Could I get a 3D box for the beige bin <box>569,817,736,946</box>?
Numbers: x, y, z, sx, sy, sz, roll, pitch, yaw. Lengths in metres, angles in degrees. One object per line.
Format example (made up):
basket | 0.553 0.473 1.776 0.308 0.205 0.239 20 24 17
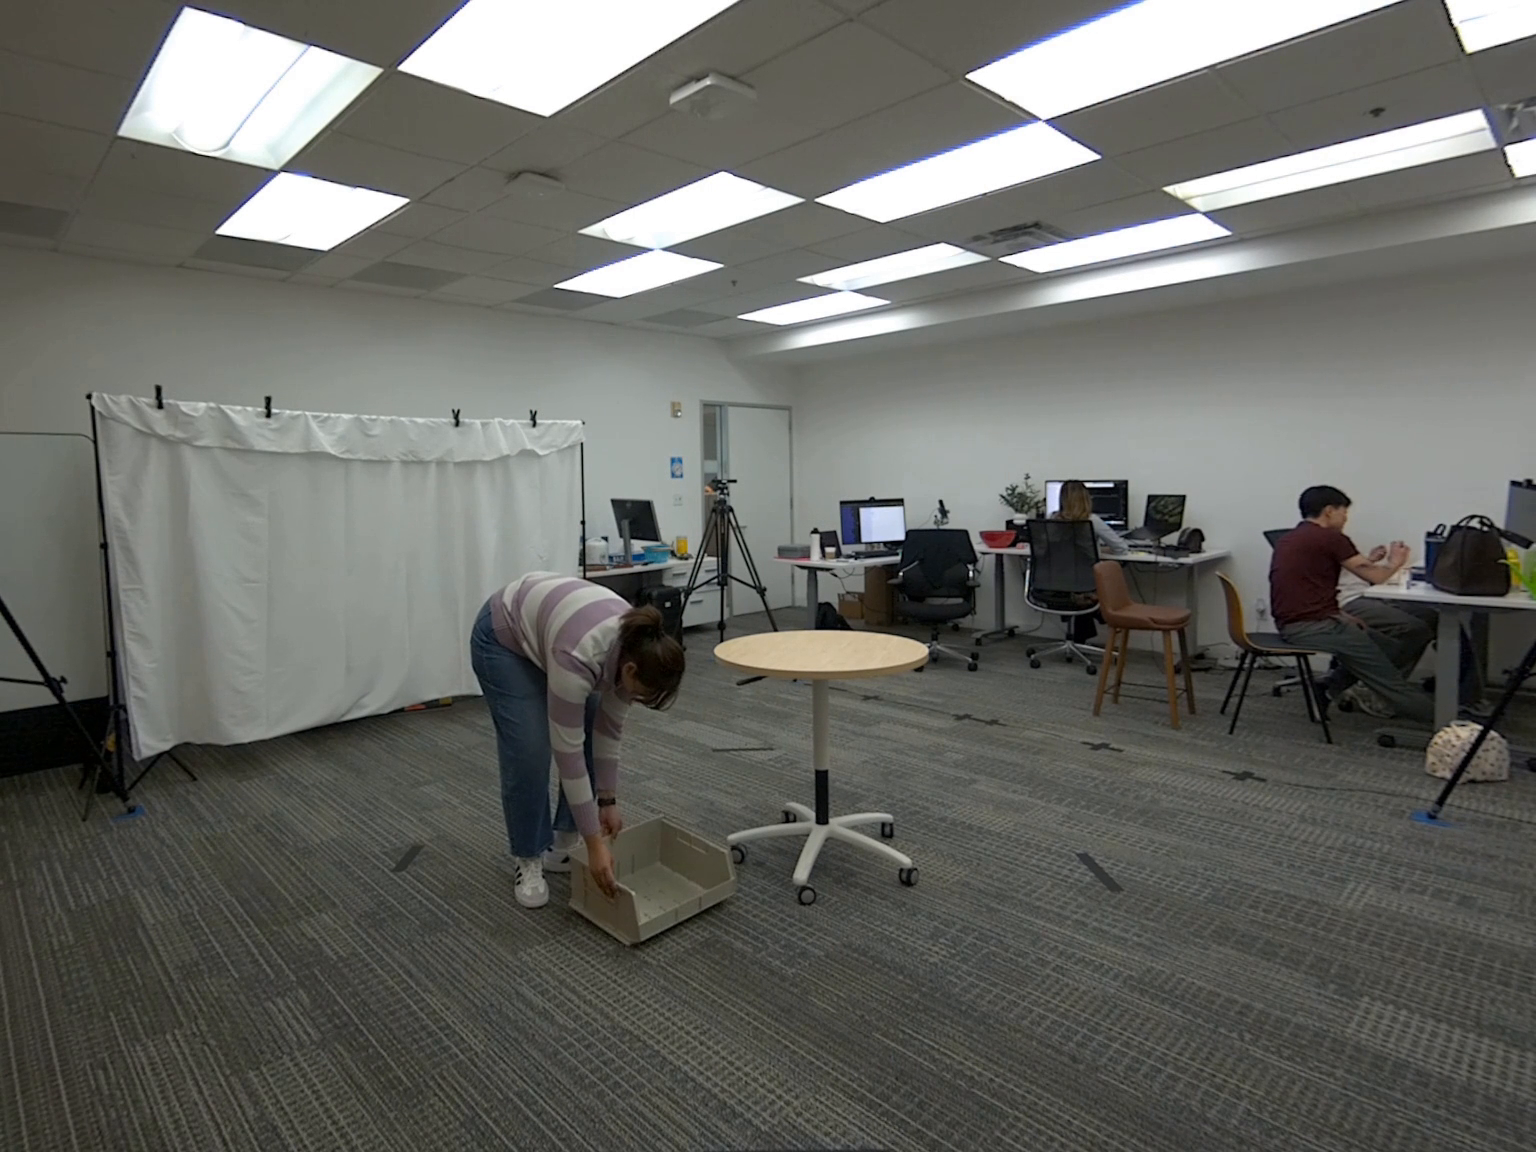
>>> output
beige bin | -0.374 0.989 2.800 0.389 0.188 0.411 8 10 43
